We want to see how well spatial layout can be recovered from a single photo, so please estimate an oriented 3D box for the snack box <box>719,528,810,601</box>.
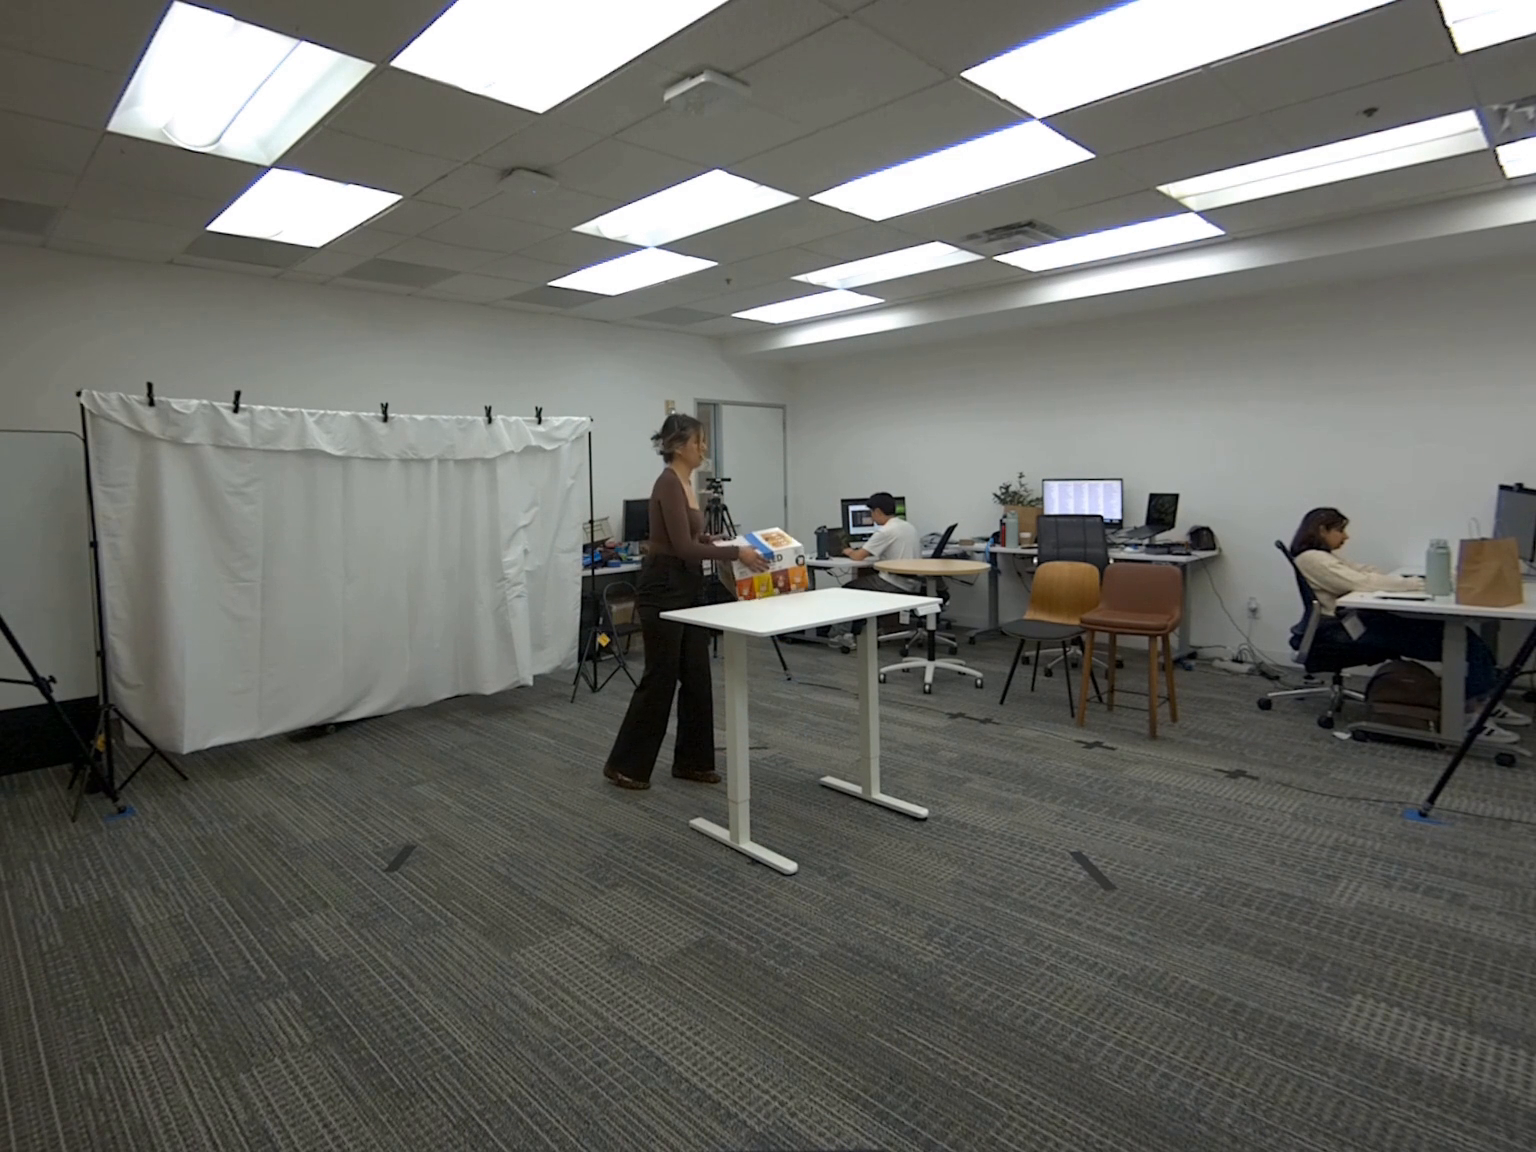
[{"bbox_3d":[-0.047,-0.054,4.058,0.337,0.202,0.415,-13,17,-11],"label":"snack box"}]
